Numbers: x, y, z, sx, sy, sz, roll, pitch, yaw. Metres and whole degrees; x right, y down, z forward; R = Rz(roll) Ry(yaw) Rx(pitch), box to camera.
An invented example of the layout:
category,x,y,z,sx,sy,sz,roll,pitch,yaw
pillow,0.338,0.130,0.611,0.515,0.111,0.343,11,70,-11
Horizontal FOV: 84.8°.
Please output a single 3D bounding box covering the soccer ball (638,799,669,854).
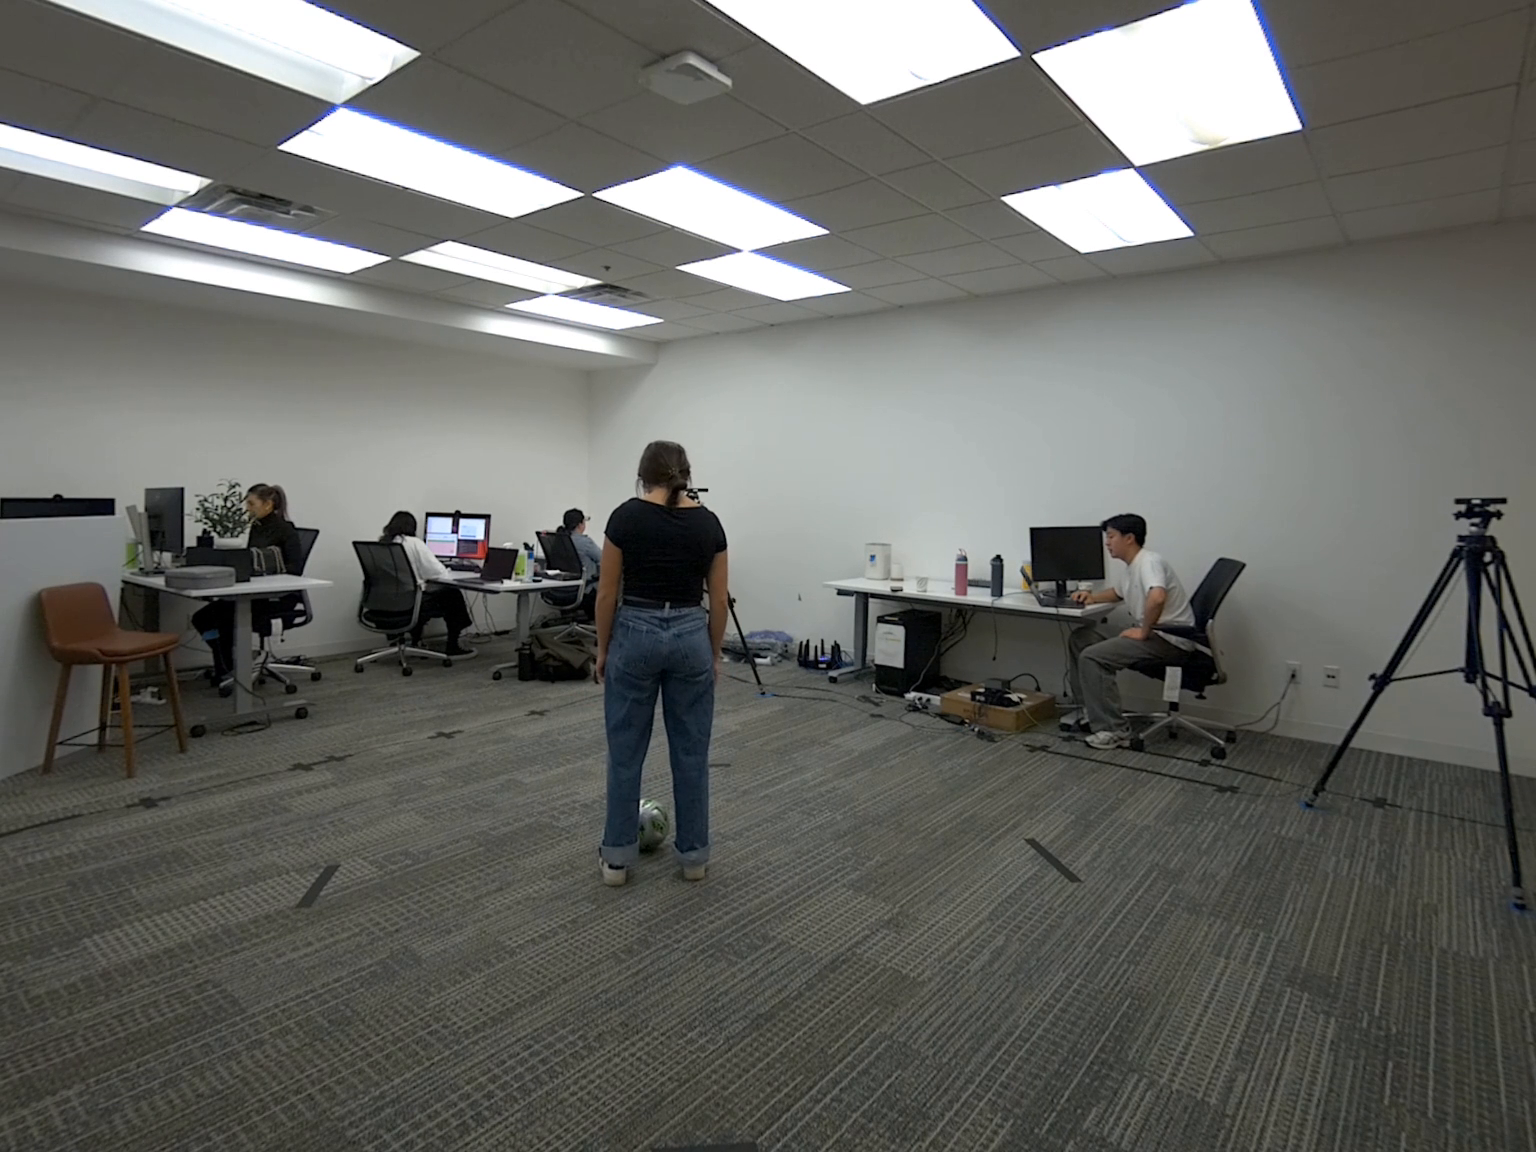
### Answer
category,x,y,z,sx,sy,sz,roll,pitch,yaw
soccer ball,-0.467,0.949,3.287,0.187,0.187,0.188,1,4,-2
